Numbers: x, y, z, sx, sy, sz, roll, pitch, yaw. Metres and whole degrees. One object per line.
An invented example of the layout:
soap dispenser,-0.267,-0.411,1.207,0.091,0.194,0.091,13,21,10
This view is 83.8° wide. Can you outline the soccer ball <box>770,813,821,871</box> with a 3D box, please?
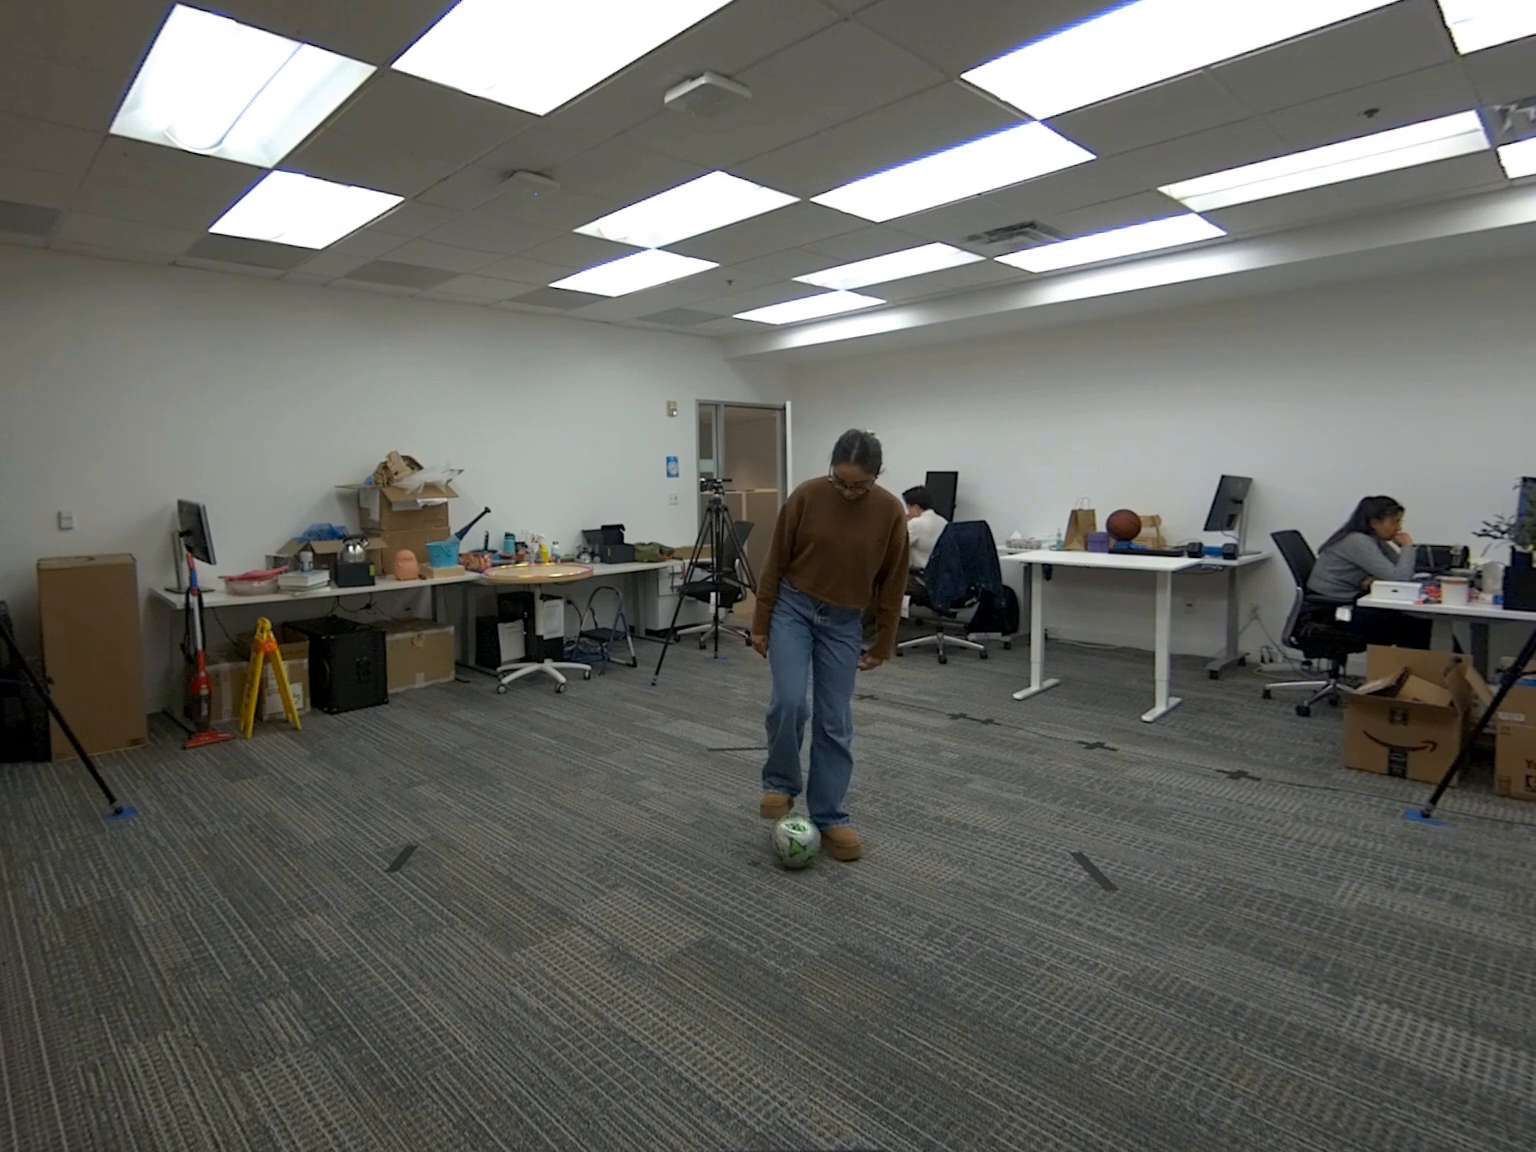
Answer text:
soccer ball,0.102,0.958,3.080,0.187,0.187,0.188,-1,5,-2
